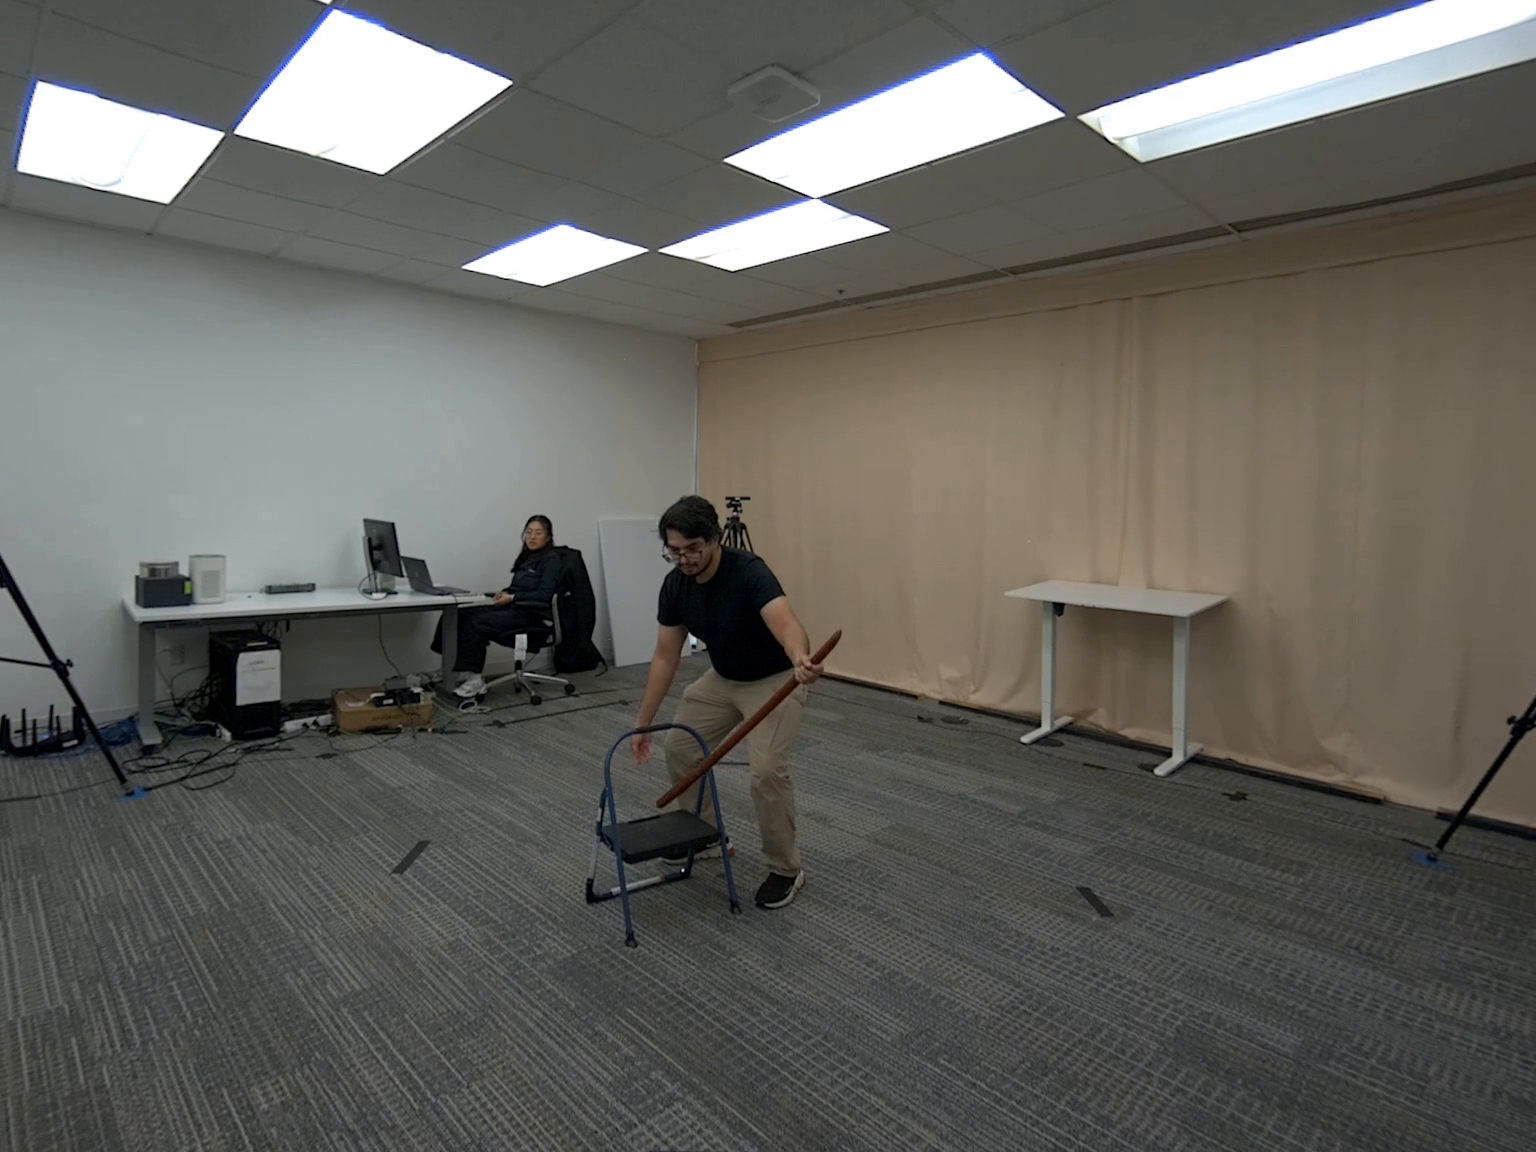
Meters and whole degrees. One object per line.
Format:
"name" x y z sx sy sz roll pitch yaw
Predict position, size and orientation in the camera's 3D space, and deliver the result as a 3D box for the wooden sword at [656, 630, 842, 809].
"wooden sword" -0.095 0.475 2.577 0.023 0.053 1.024 14 -47 -37
